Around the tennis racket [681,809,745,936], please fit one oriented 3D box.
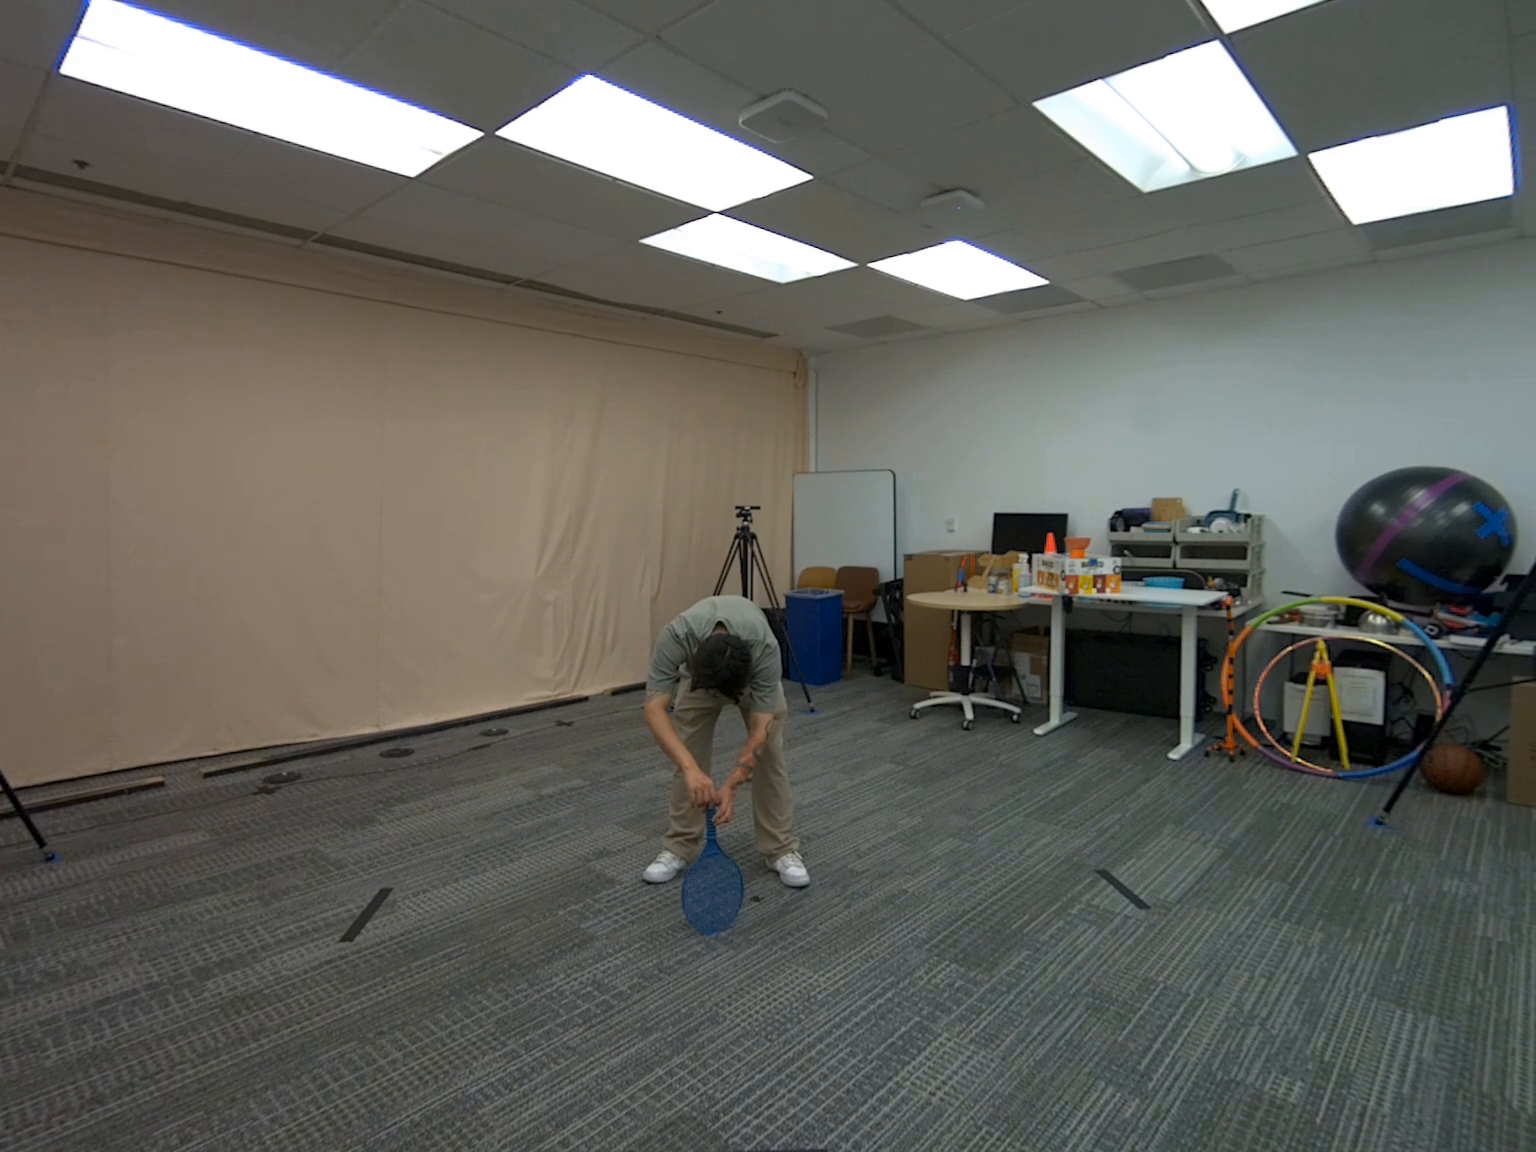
[{"bbox_3d":[-0.185,0.951,2.739,0.213,0.432,0.032,-7,2,-5],"label":"tennis racket"}]
